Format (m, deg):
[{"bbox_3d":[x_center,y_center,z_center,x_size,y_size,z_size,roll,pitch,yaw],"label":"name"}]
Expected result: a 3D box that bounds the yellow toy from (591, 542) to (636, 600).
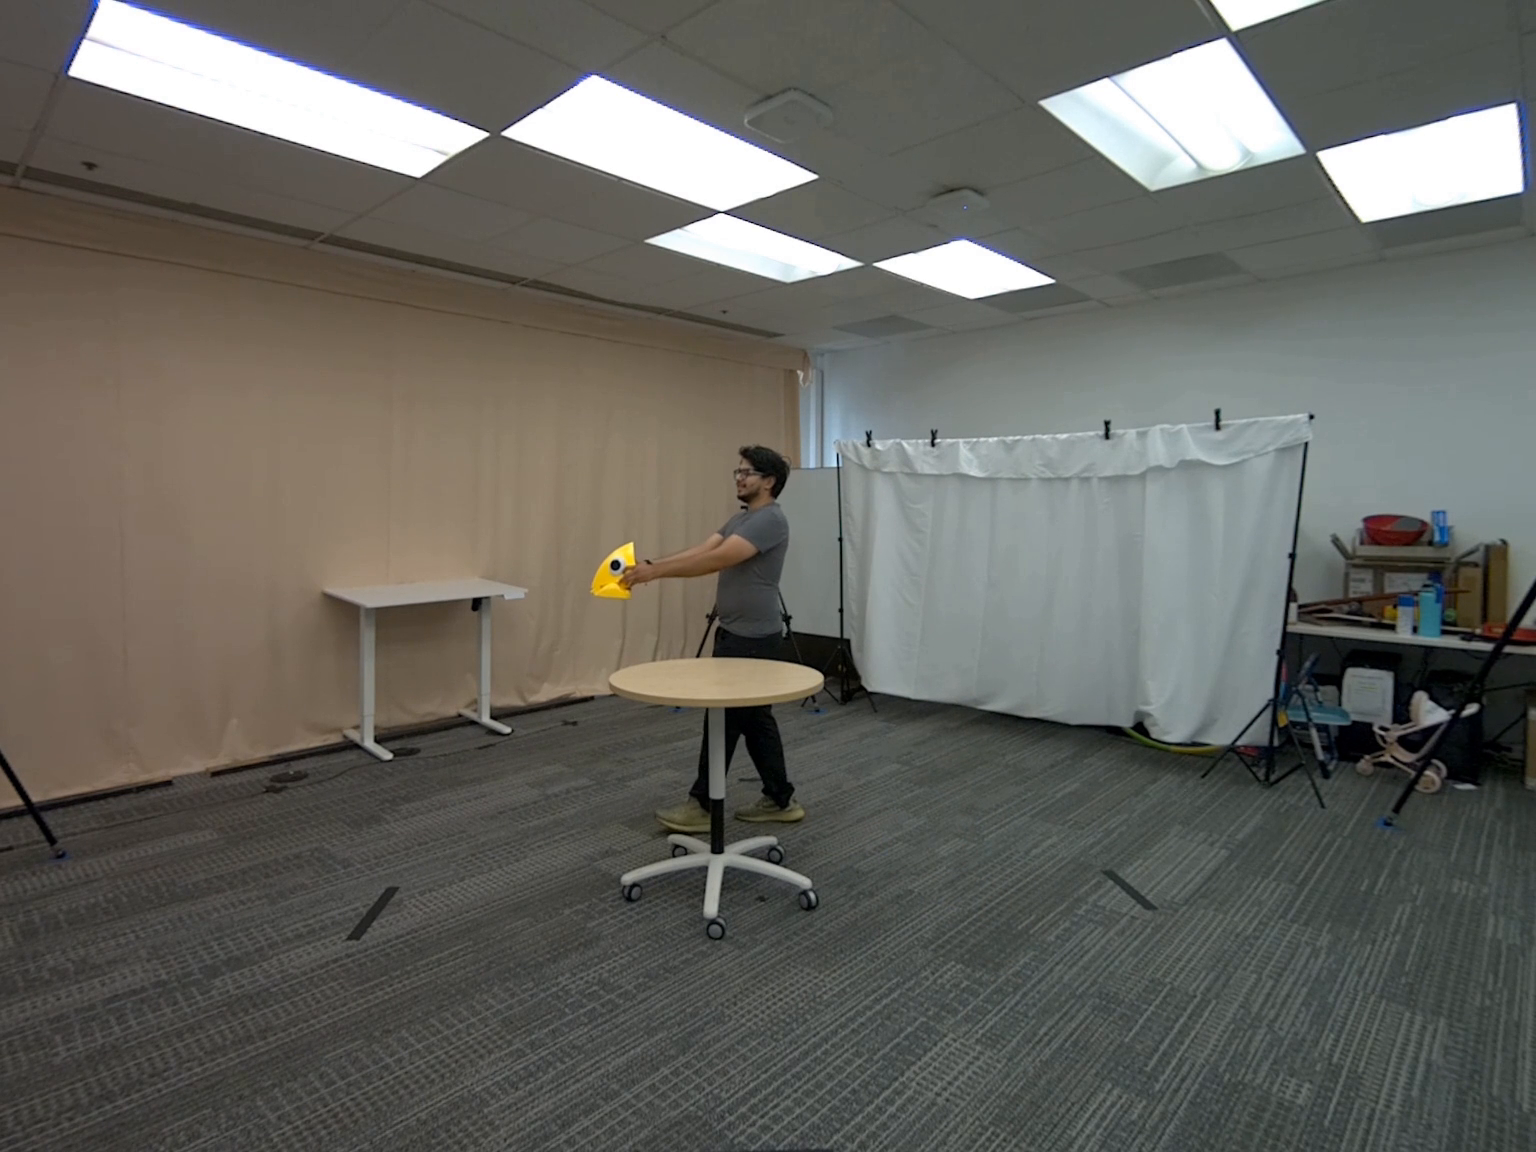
[{"bbox_3d":[-0.652,-0.033,3.539,0.189,0.230,0.209,6,2,-18],"label":"yellow toy"}]
